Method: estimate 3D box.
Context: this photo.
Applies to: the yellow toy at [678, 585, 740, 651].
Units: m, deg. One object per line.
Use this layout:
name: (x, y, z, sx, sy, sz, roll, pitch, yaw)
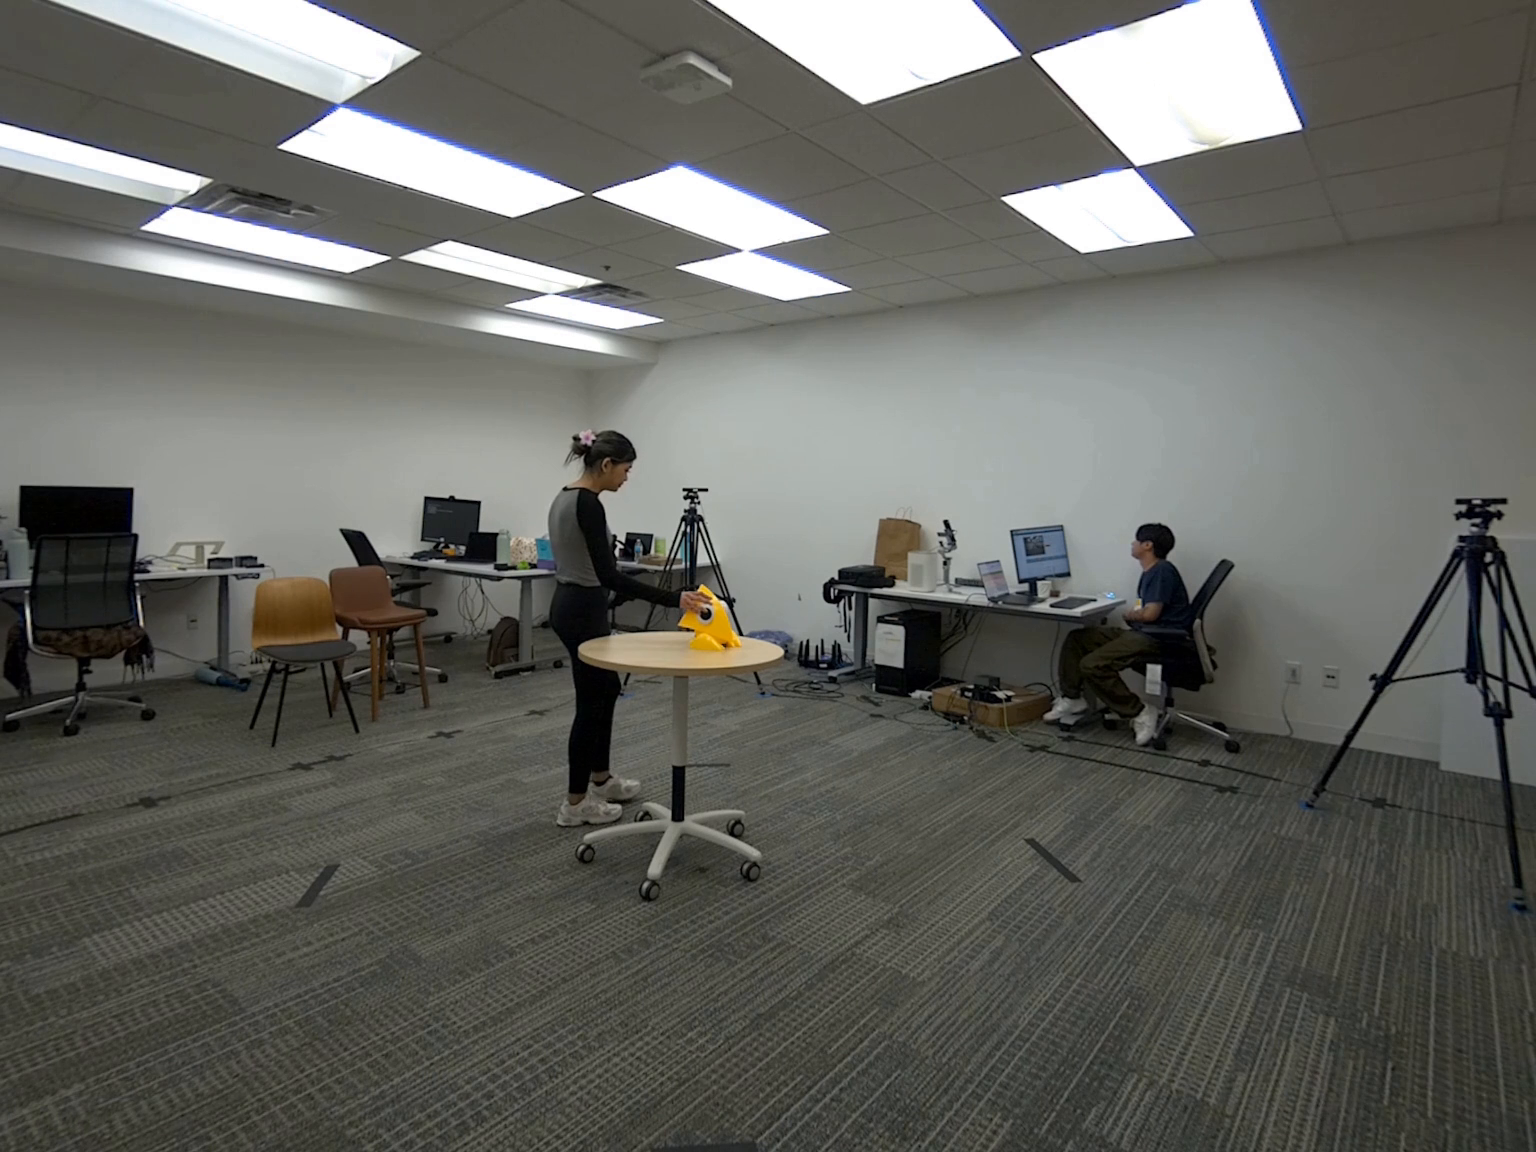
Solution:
yellow toy: (-0.215, 0.151, 3.246, 0.199, 0.230, 0.199, 4, 4, 35)
